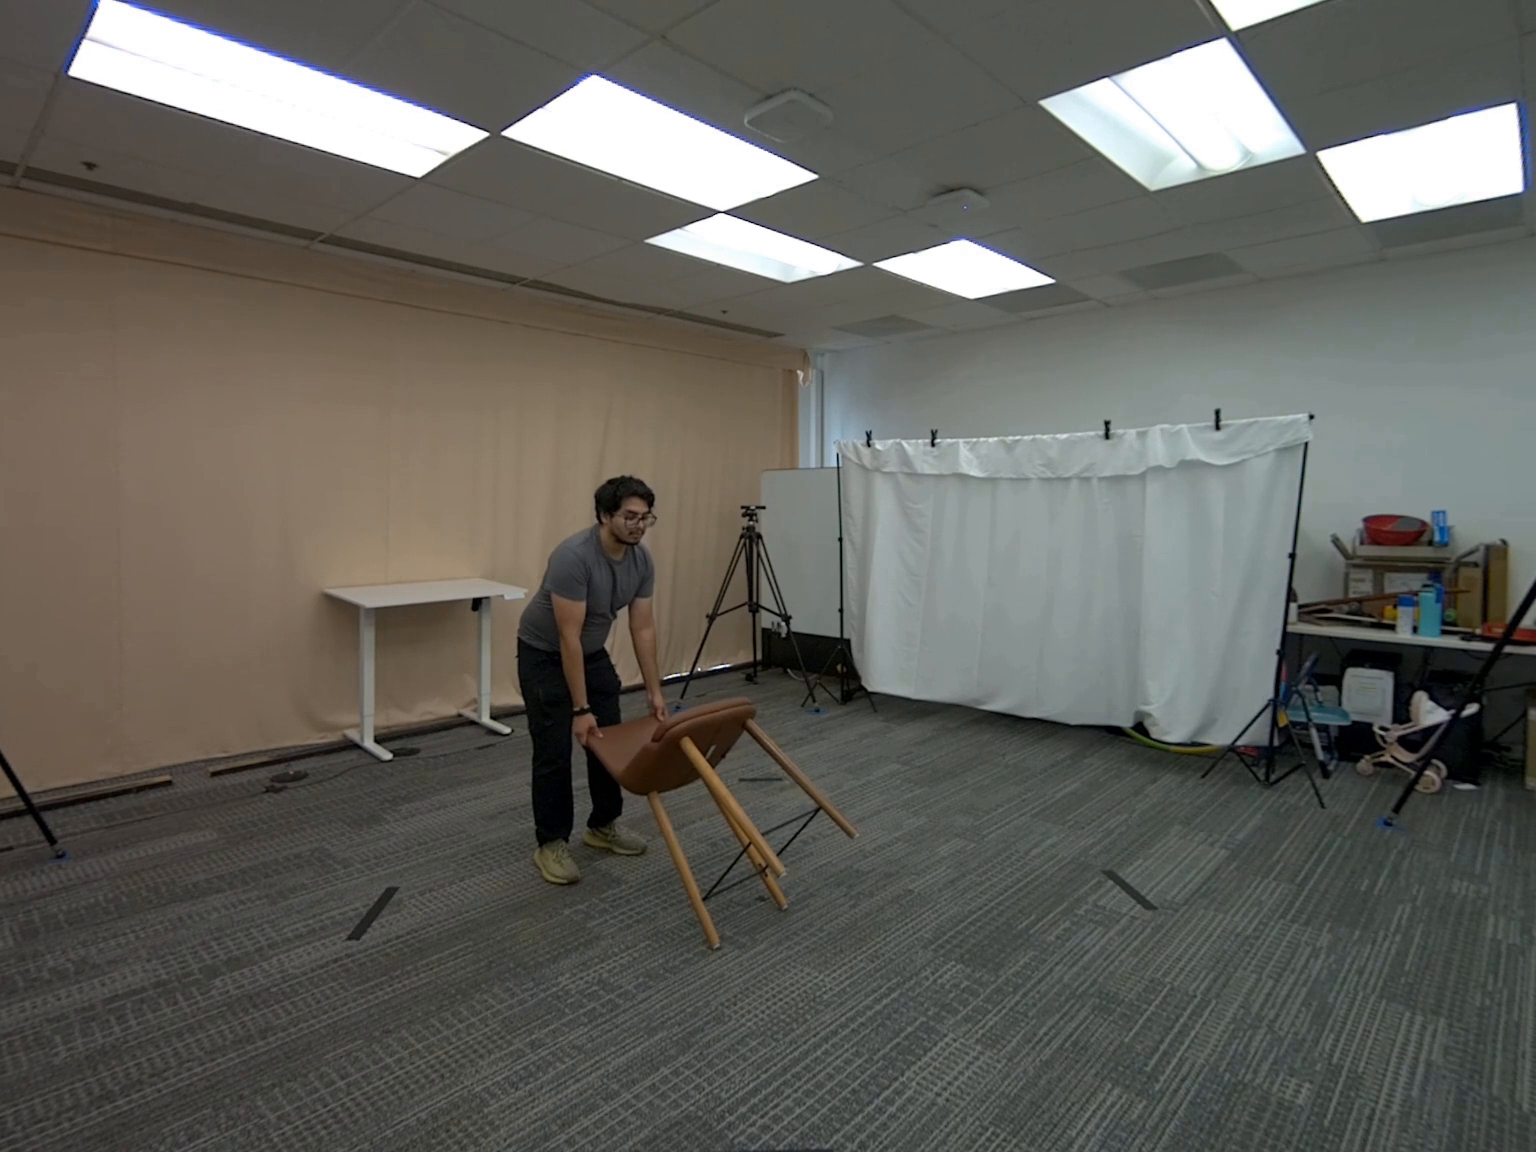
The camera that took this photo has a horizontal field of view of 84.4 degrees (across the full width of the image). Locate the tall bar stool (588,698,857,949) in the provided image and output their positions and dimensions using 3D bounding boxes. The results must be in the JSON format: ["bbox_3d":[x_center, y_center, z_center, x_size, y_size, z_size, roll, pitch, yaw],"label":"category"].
[{"bbox_3d":[-0.203,0.705,2.883,0.443,0.468,0.917,-5,45,-48],"label":"tall bar stool"}]
